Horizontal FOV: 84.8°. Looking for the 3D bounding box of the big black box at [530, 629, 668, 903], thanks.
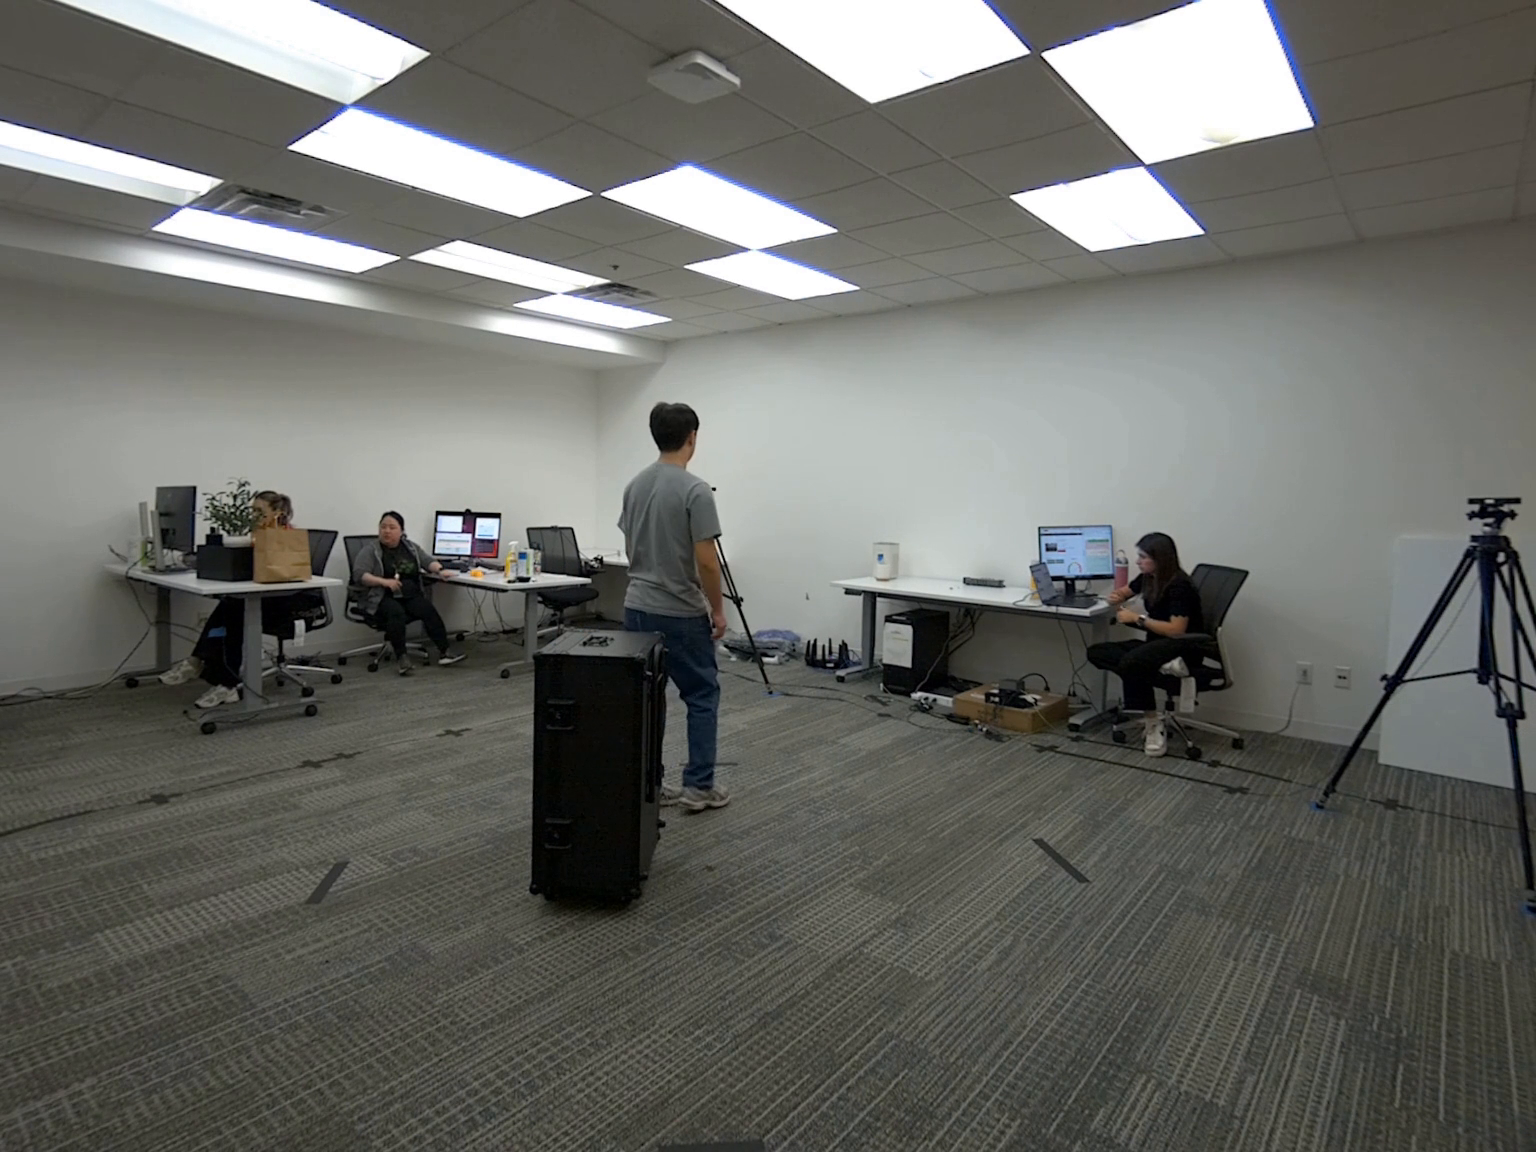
[{"bbox_3d":[-0.585,0.651,2.954,0.398,0.859,0.520,2,3,3],"label":"big black box"}]
